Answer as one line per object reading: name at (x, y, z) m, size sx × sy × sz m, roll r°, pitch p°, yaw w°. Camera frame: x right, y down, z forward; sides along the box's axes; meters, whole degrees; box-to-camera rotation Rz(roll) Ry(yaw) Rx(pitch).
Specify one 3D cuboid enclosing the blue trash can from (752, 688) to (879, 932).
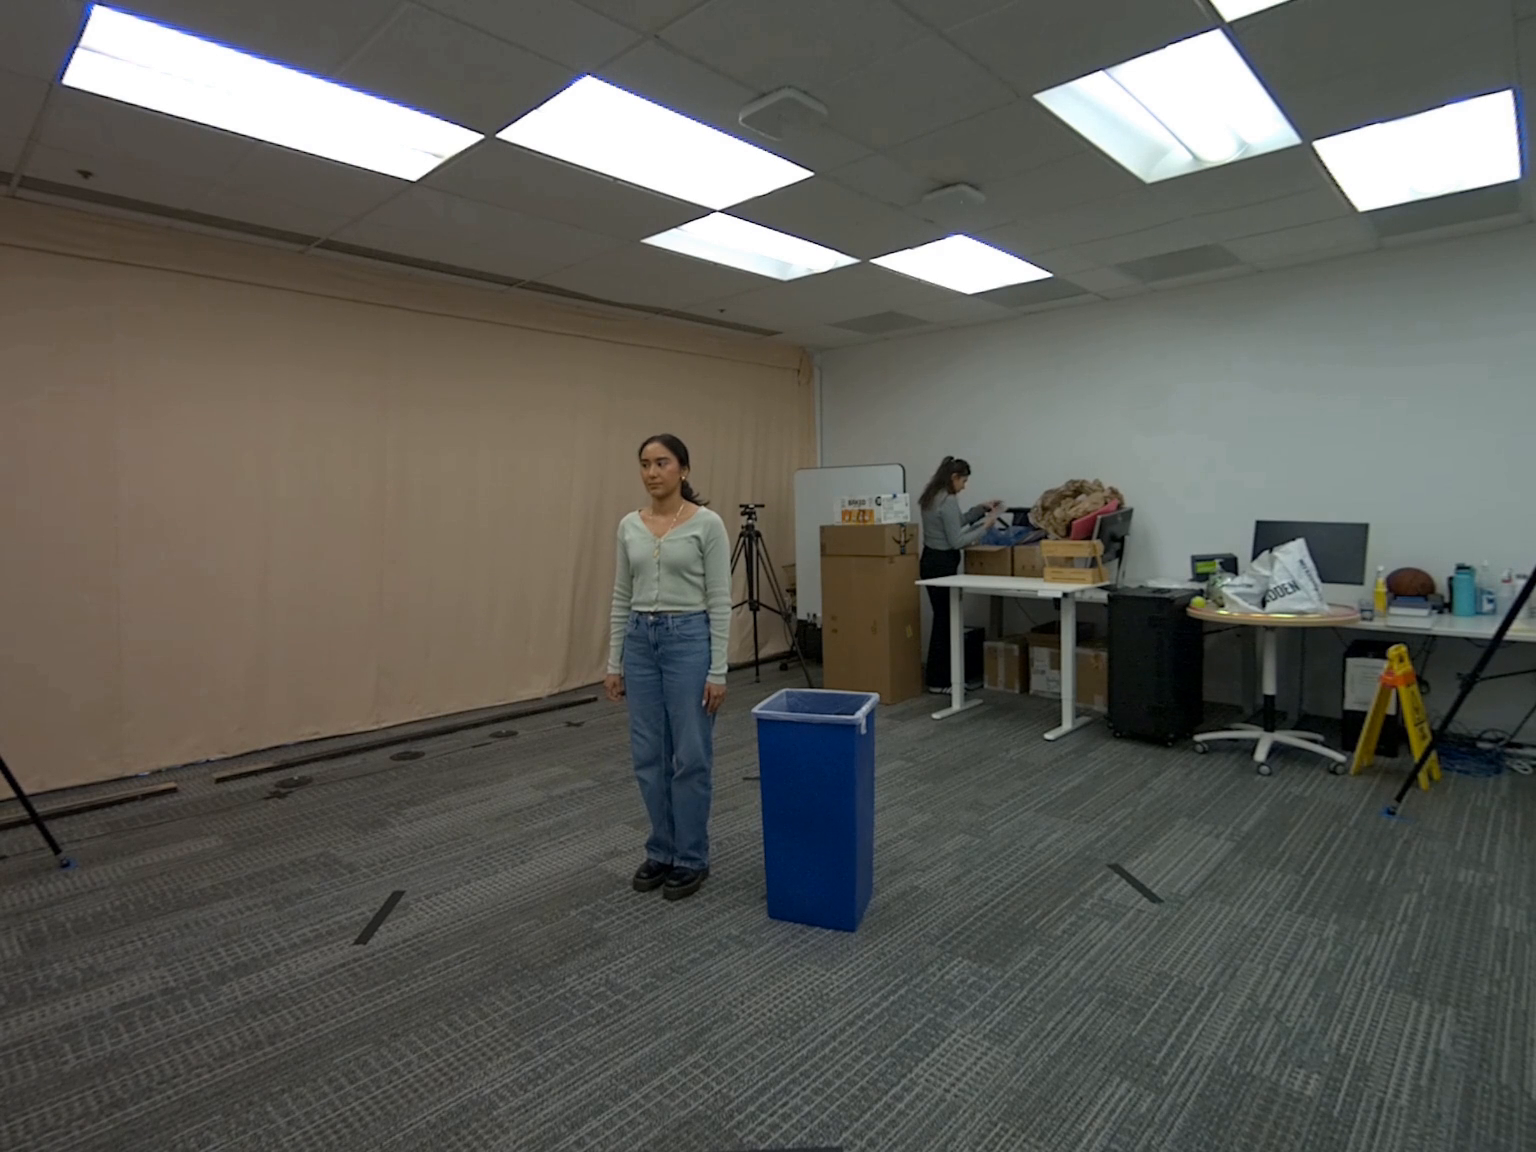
blue trash can at (0.175, 0.786, 2.898) m, size 0.382 × 0.712 × 0.371 m, roll 0°, pitch 3°, yaw 20°
